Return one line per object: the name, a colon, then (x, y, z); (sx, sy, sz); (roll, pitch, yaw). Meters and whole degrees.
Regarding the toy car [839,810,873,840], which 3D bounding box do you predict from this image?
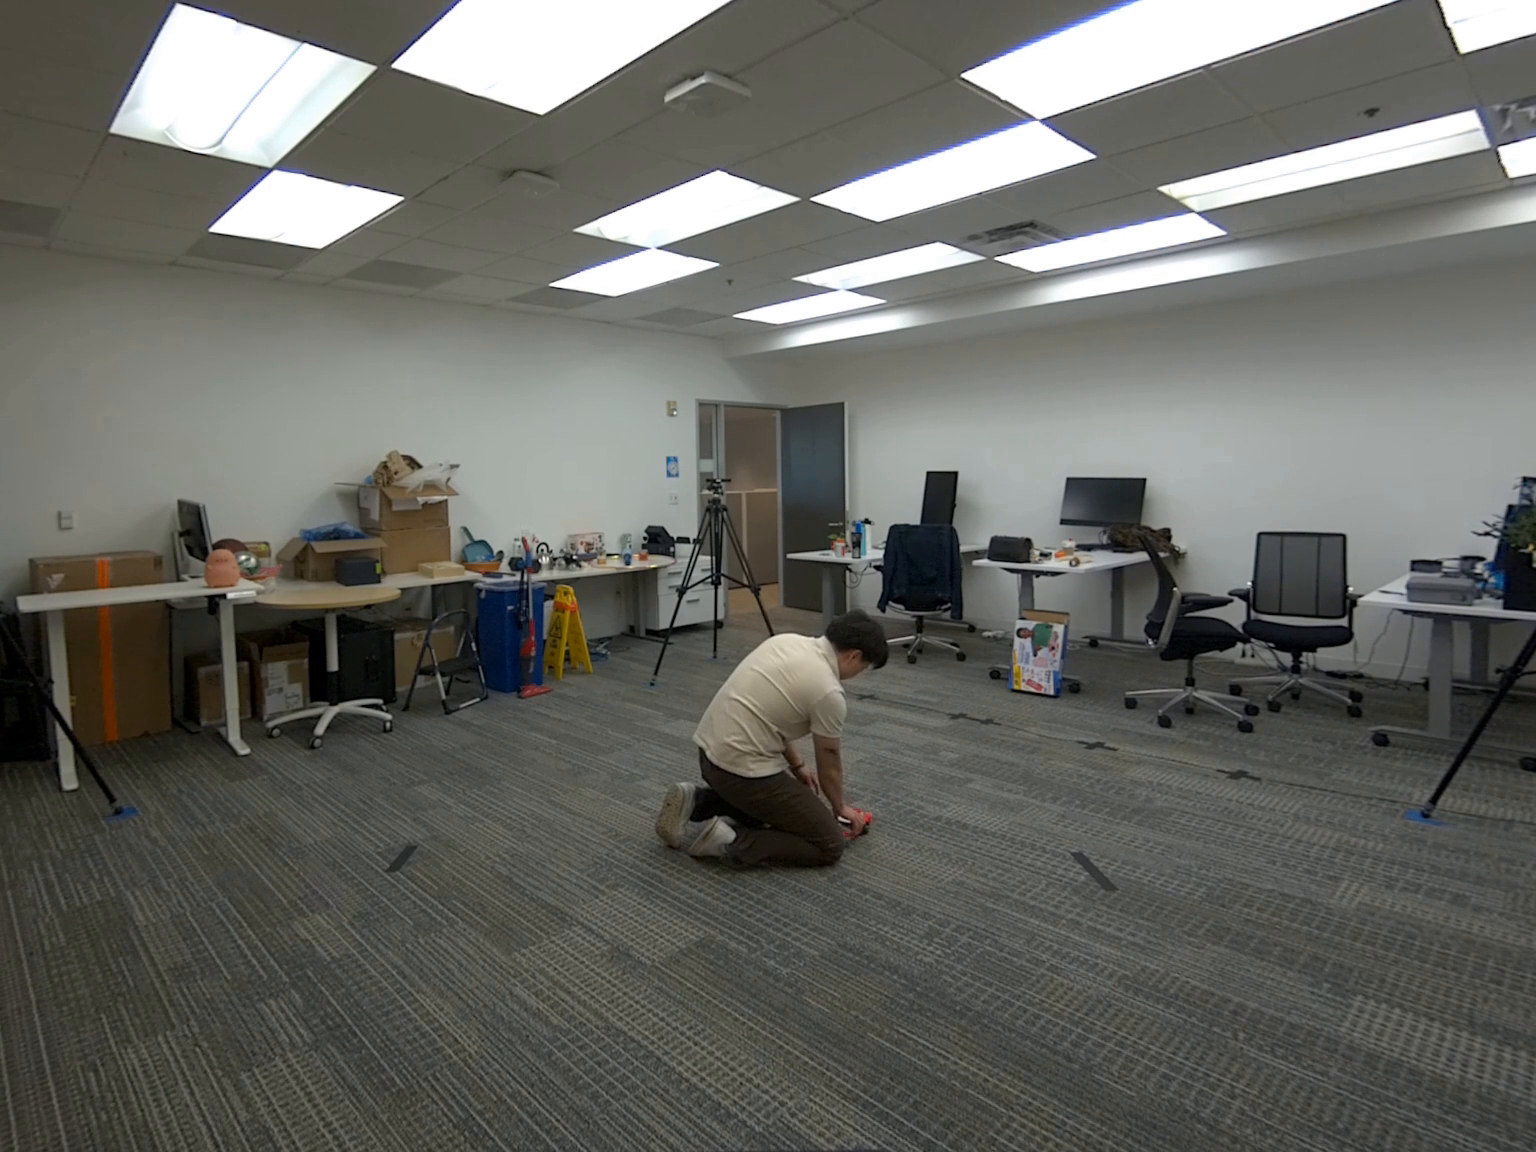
toy car: (0.311, 0.975, 3.332); (0.134, 0.082, 0.250); (5, 20, 39)
